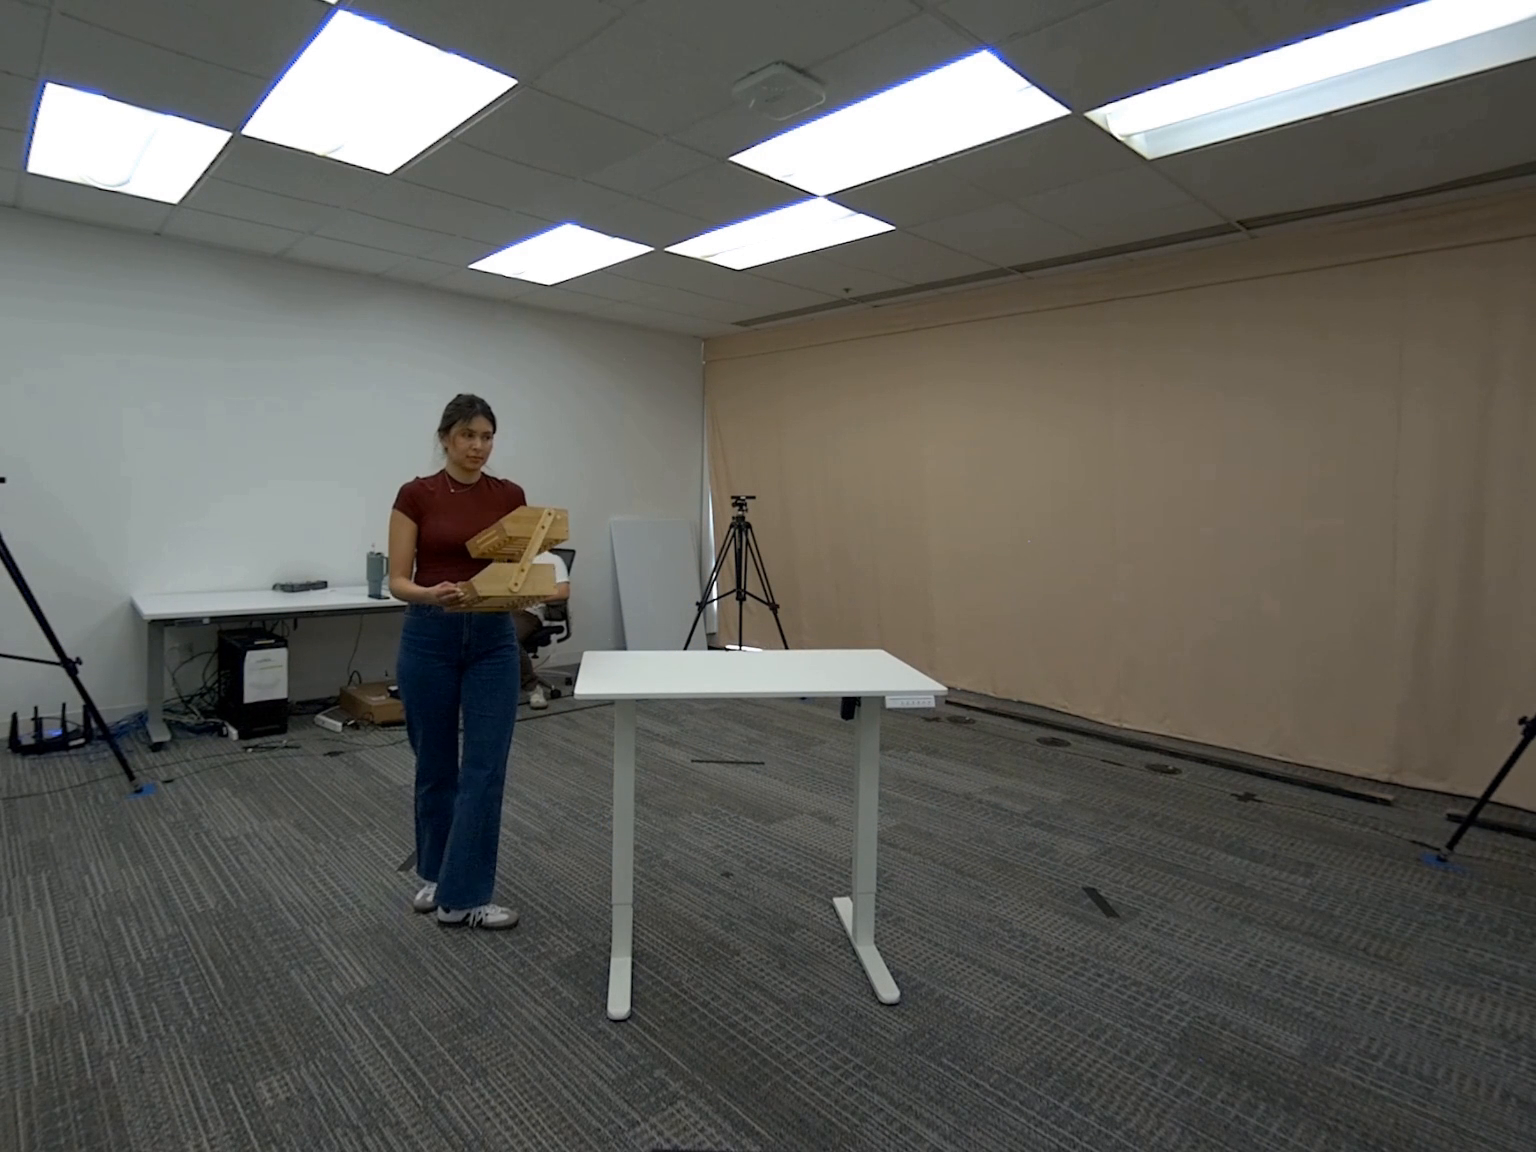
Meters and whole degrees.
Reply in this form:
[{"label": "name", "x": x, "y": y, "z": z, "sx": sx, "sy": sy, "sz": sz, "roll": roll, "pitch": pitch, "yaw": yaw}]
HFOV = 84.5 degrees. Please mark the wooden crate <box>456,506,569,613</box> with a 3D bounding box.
[{"label": "wooden crate", "x": -0.801, "y": -0.050, "z": 2.511, "sx": 0.295, "sy": 0.276, "sz": 0.329, "roll": 2, "pitch": -12, "yaw": -38}]
